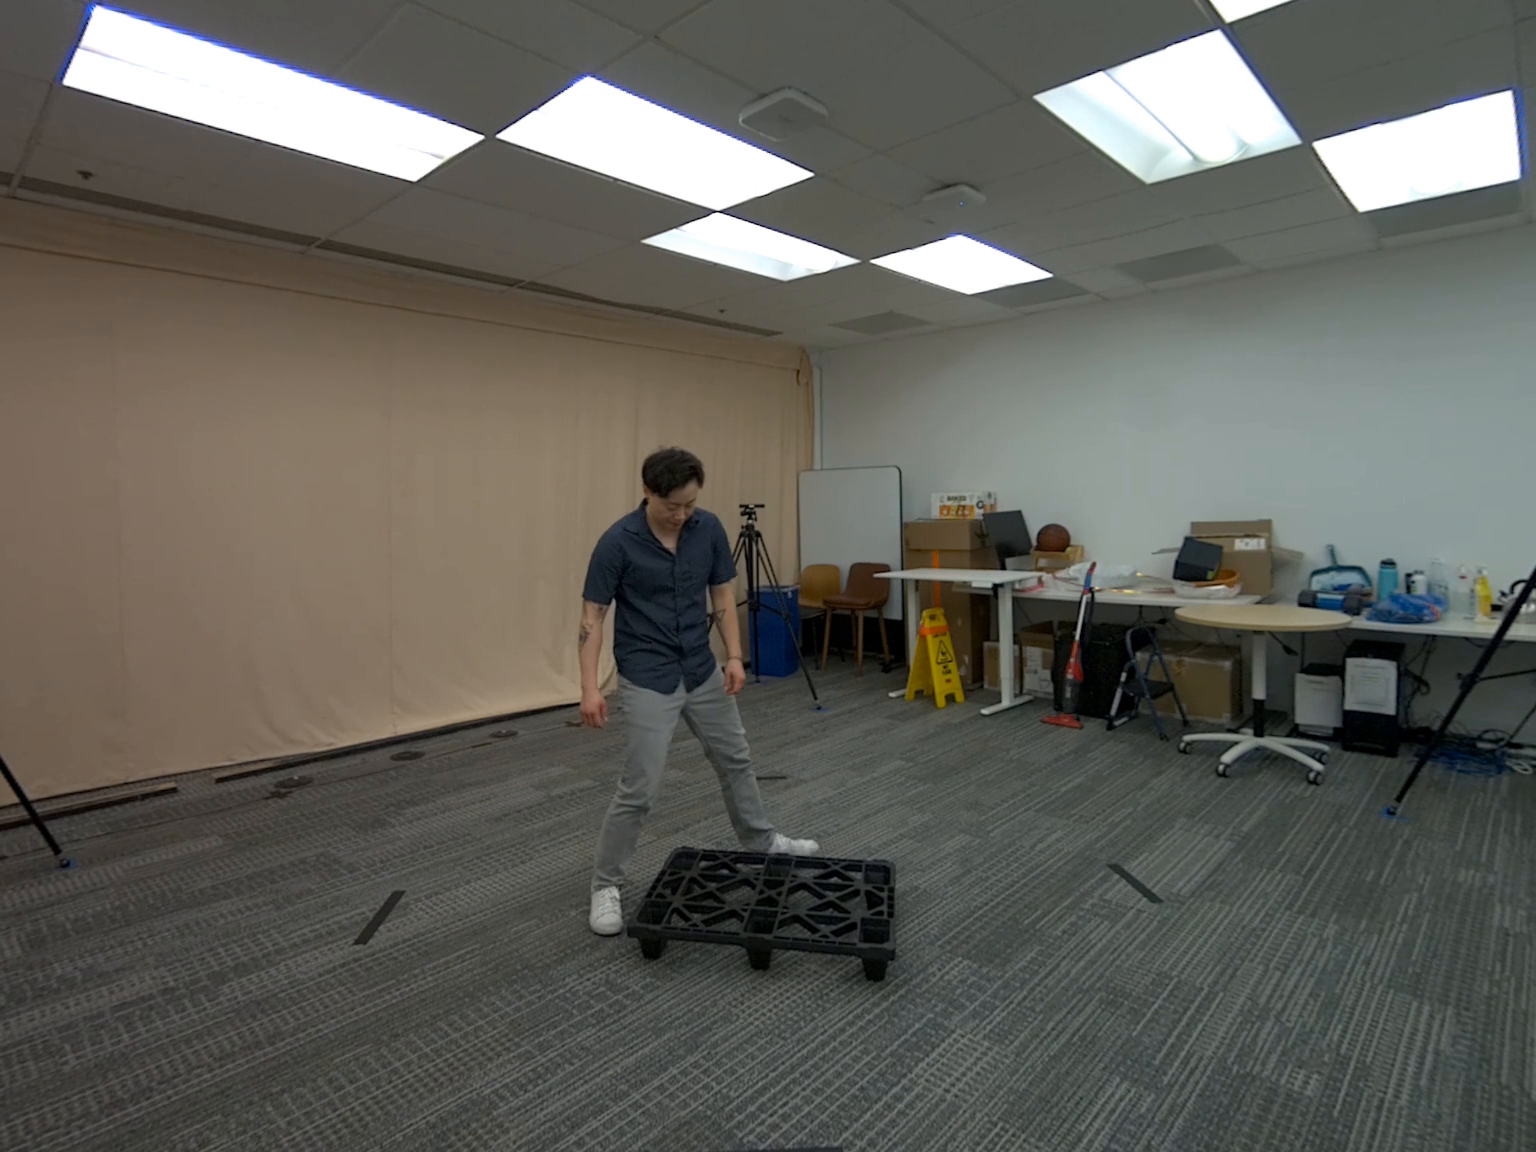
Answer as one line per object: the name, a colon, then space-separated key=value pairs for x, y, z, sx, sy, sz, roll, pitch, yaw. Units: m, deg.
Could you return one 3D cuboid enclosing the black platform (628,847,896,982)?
black platform: x=0.011 y=1.090 z=2.747 sx=0.815 sy=0.143 sz=0.599 roll=0 pitch=5 yaw=10
